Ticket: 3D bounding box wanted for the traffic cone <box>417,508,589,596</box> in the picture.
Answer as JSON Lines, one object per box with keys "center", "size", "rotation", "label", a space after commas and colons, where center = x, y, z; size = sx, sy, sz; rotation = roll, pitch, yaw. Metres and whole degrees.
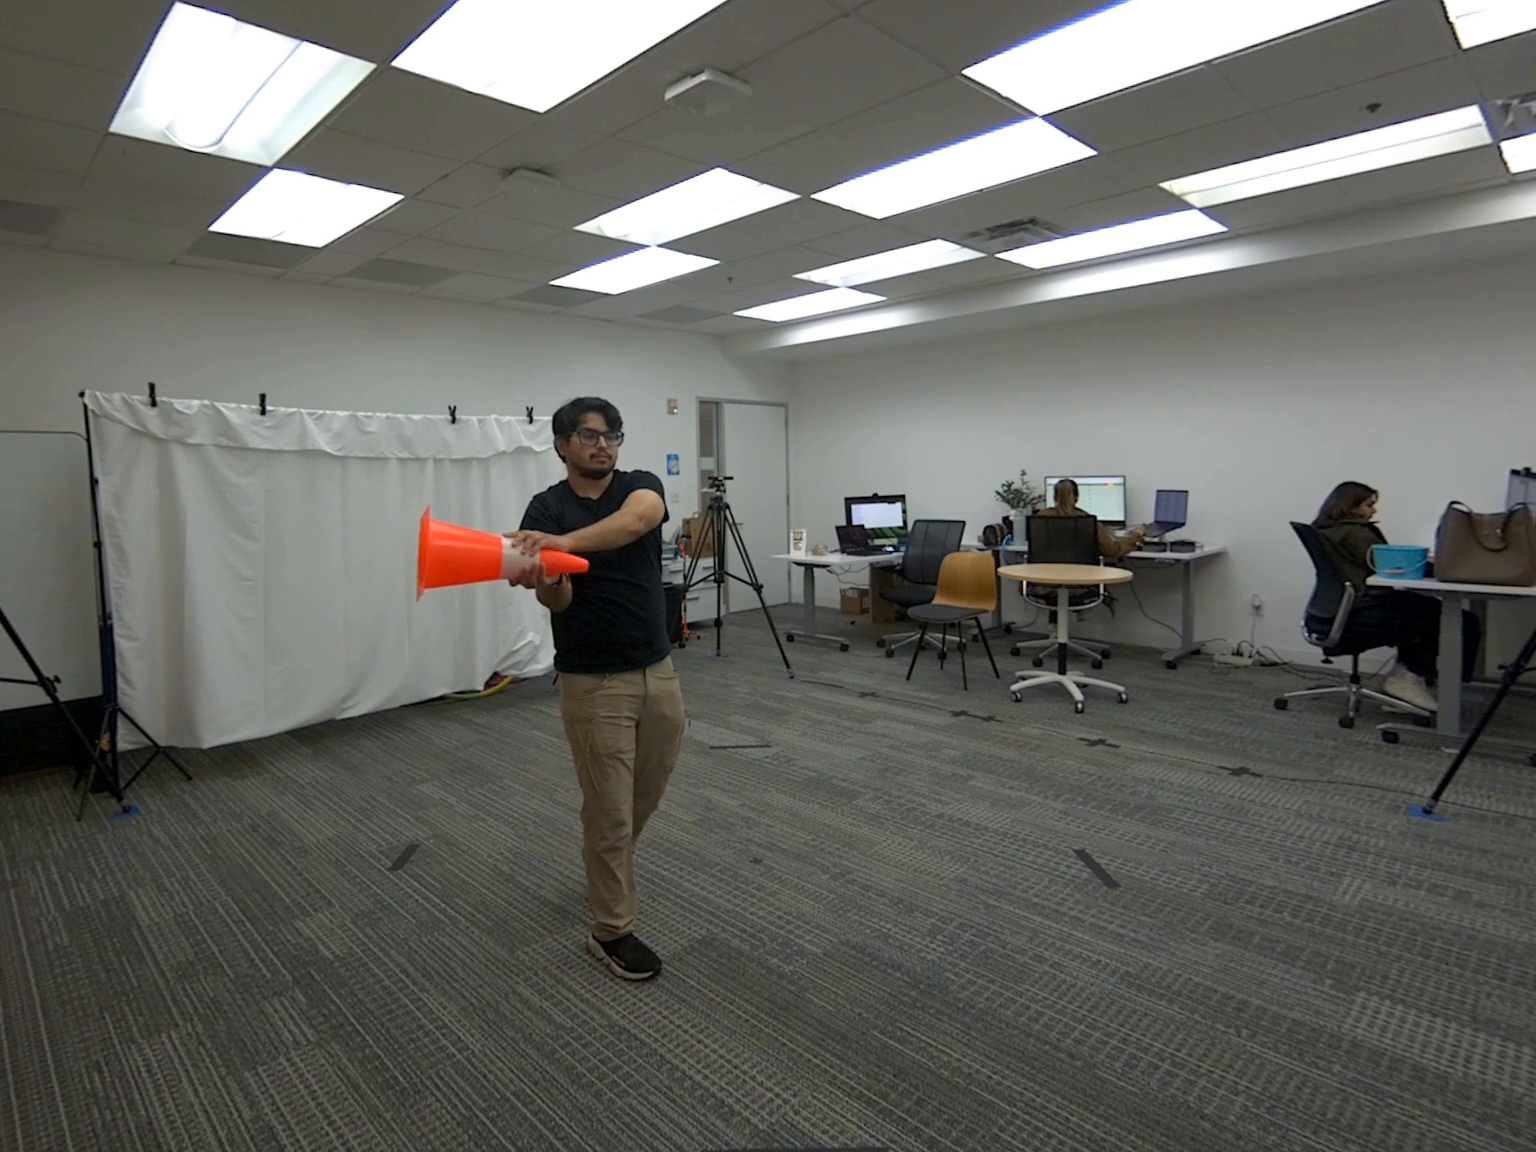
{"center": [-0.581, -0.027, 1.971], "size": [0.375, 0.205, 0.208], "rotation": [4, -10, -25], "label": "traffic cone"}
